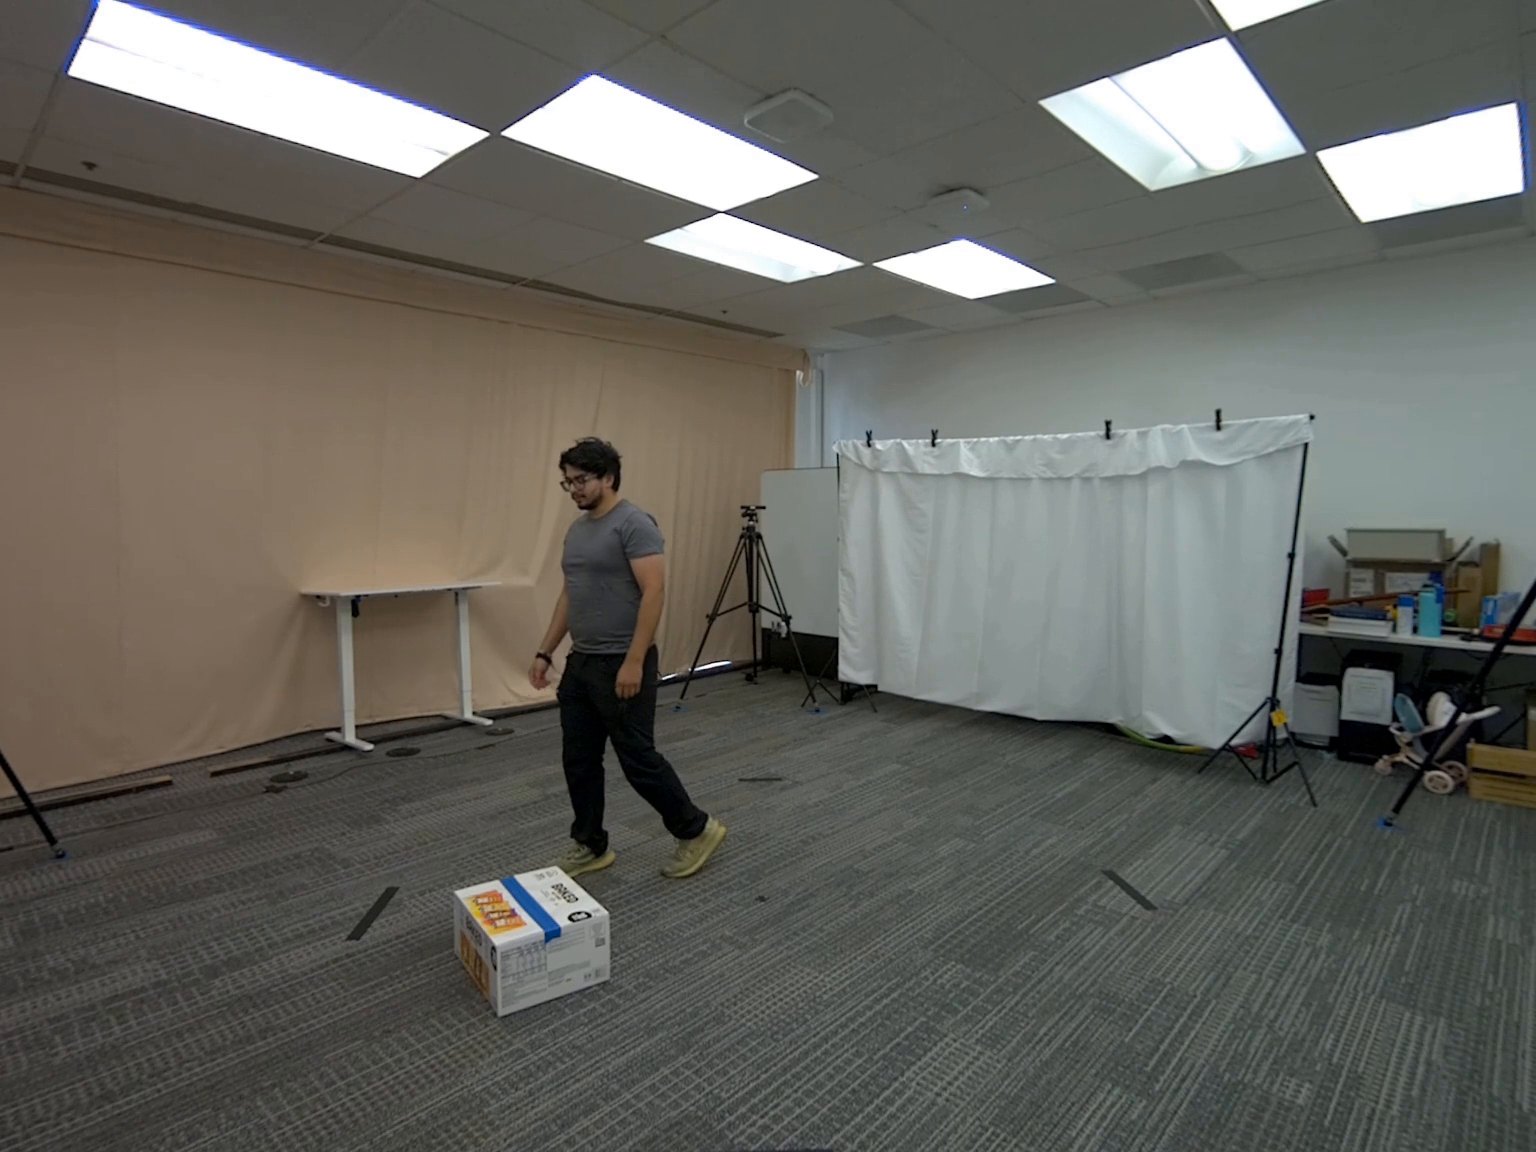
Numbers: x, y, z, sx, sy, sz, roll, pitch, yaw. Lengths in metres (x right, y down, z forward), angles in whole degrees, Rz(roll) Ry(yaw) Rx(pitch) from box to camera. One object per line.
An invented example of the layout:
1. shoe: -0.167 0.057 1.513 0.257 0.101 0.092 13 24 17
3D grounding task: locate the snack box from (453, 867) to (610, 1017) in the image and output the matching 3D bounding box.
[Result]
1. snack box: -0.721 1.087 2.534 0.330 0.205 0.418 -3 5 -35
